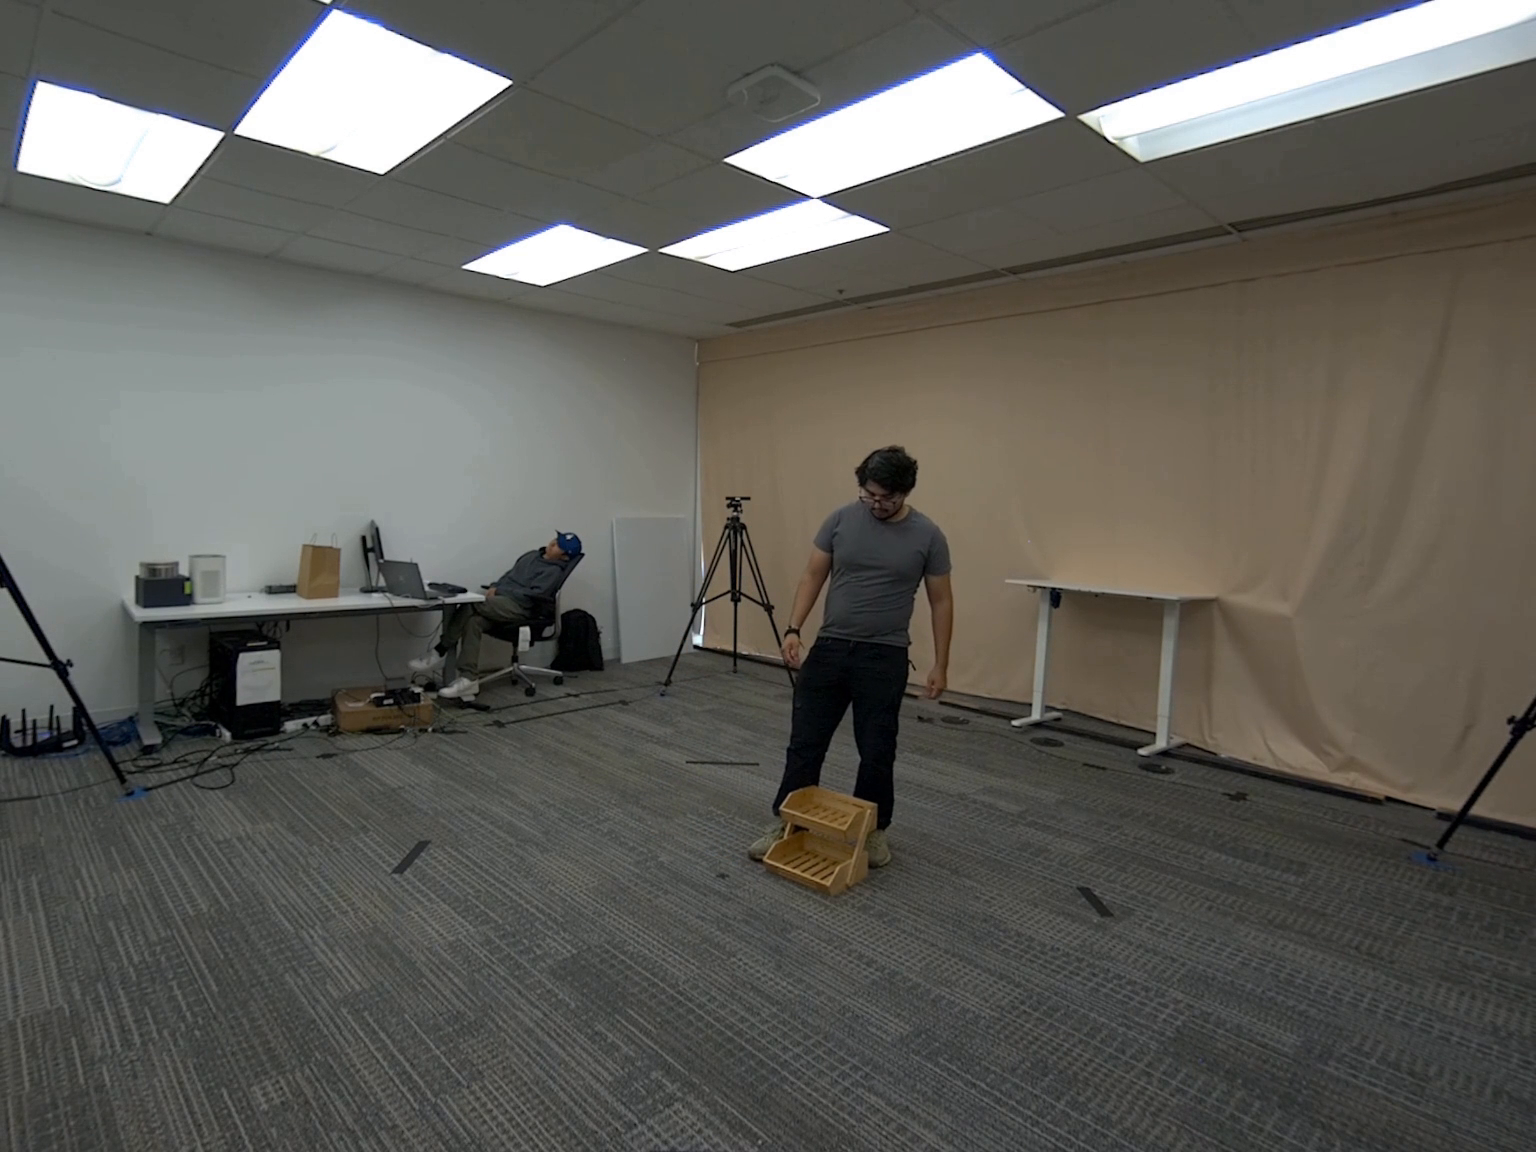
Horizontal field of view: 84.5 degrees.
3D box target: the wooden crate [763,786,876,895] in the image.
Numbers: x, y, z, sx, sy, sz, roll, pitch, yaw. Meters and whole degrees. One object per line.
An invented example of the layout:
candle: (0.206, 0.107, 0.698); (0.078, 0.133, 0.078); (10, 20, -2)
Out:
wooden crate: (0.185, 0.975, 3.139); (0.332, 0.273, 0.295); (4, 4, 40)
